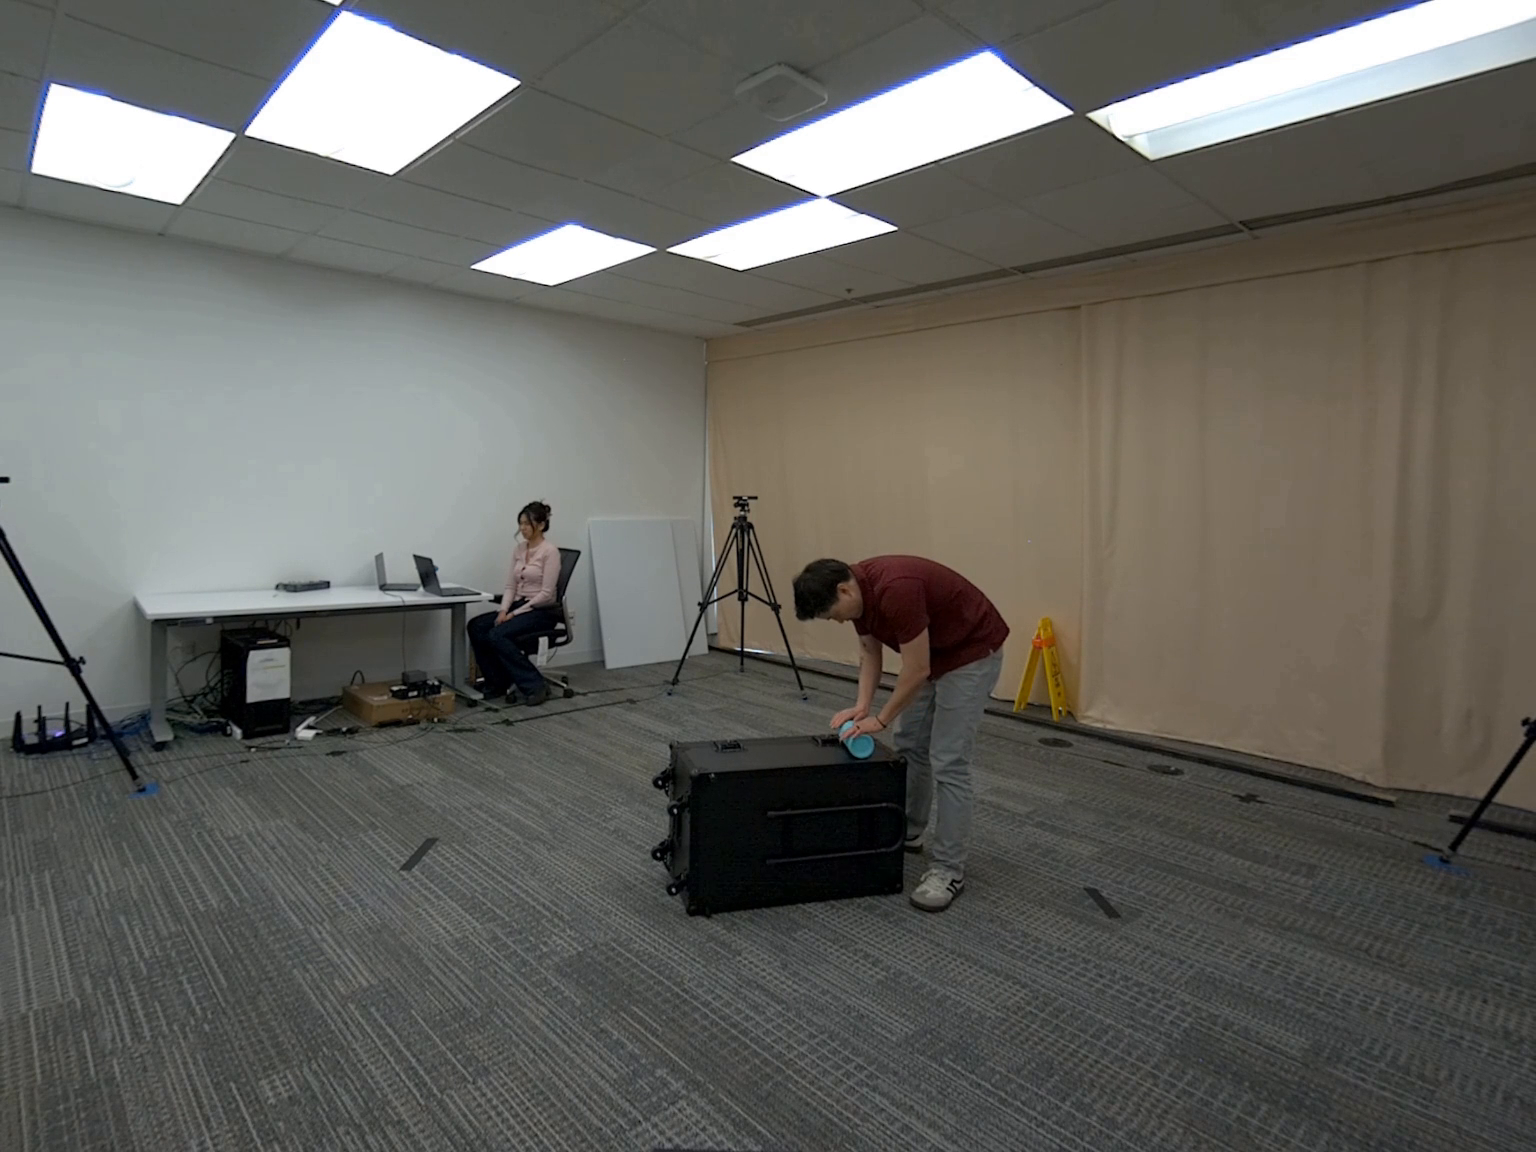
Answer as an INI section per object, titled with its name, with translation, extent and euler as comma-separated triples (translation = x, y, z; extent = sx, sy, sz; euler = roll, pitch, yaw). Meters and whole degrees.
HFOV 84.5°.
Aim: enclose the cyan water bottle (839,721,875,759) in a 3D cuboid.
[cyan water bottle]
translation = 0.311, 0.600, 3.090
extent = 0.092, 0.092, 0.284
euler = 1, 5, -2
